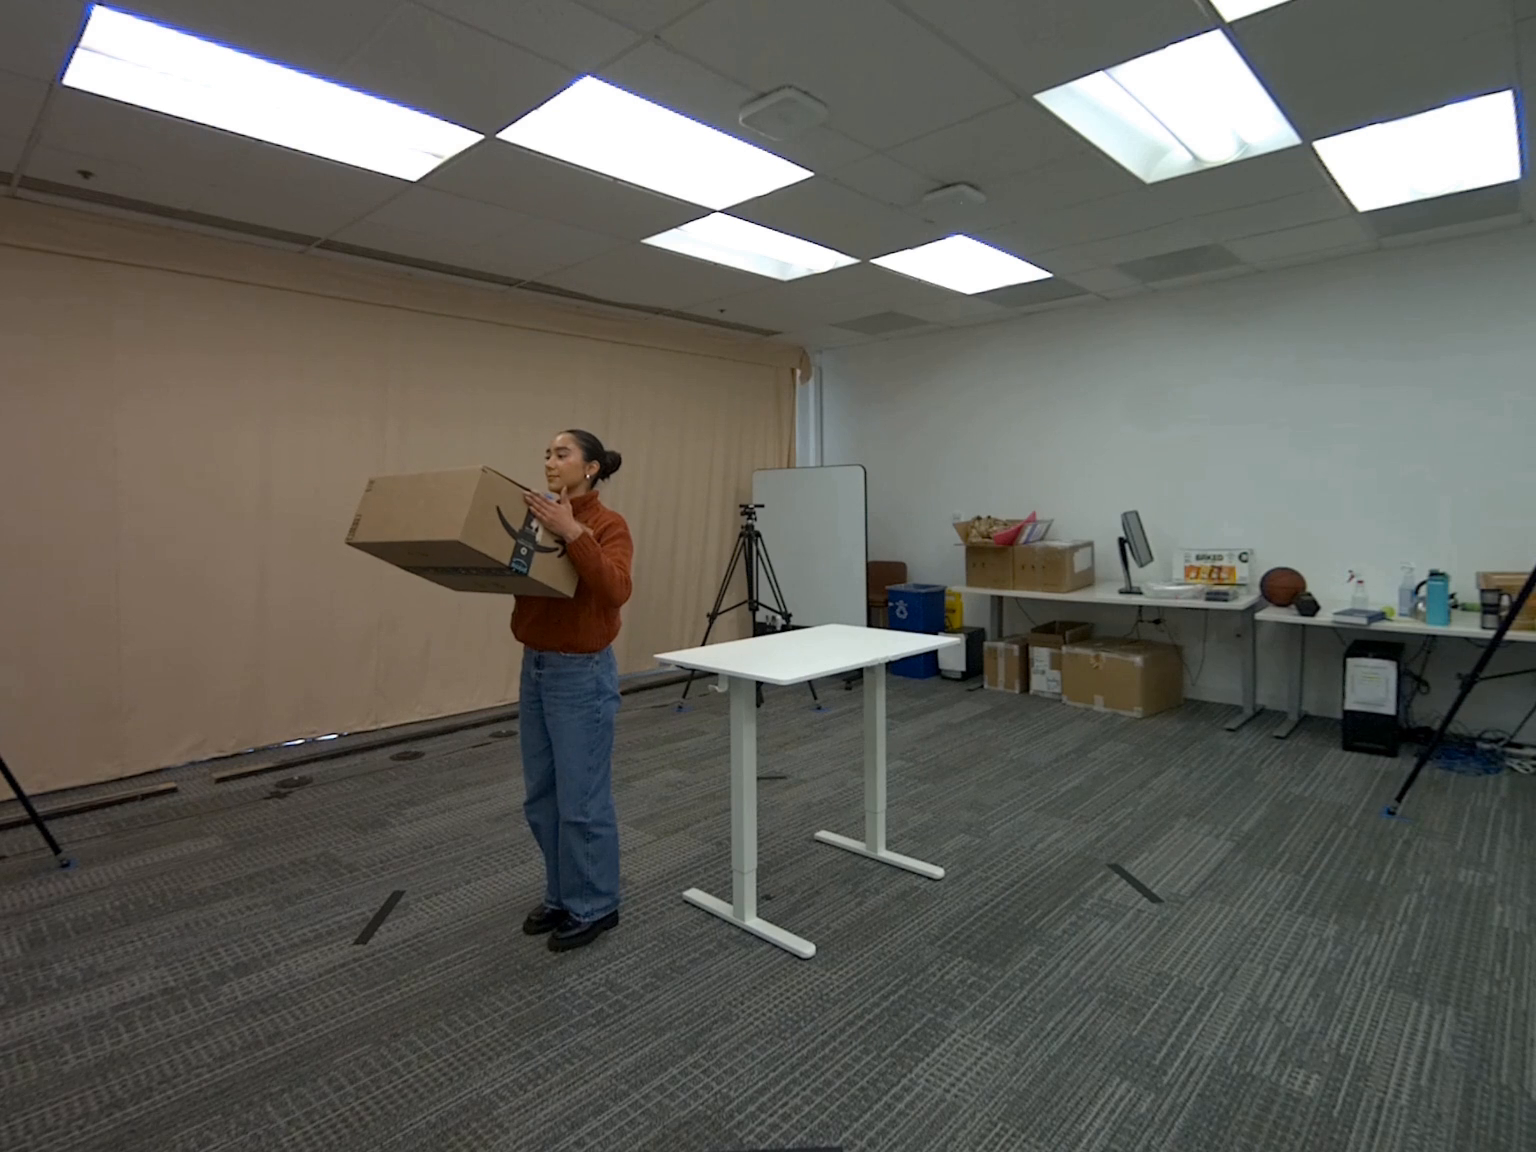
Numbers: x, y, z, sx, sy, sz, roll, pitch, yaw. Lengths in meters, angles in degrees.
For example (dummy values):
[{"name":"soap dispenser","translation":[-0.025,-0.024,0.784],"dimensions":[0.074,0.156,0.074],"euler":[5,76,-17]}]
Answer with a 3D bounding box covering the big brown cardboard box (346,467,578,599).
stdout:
[{"name":"big brown cardboard box","translation":[-0.876,-0.116,2.452],"dimensions":[0.608,0.234,0.402],"euler":[2,-20,37]}]
